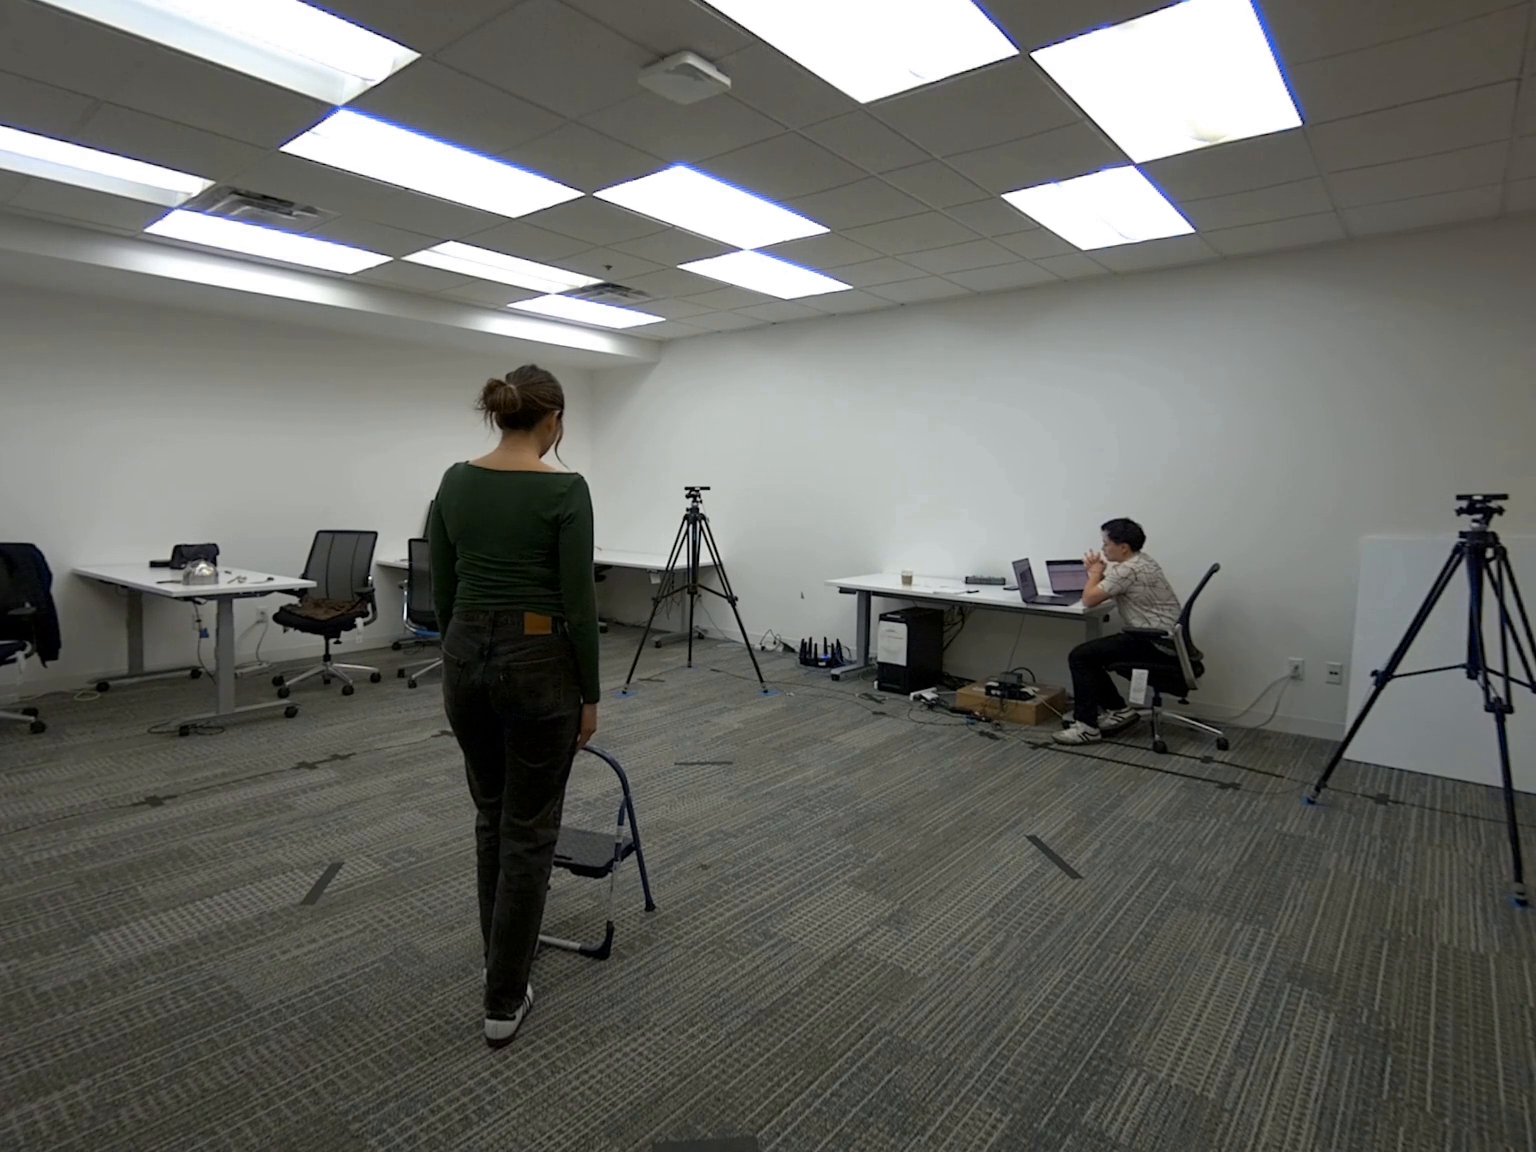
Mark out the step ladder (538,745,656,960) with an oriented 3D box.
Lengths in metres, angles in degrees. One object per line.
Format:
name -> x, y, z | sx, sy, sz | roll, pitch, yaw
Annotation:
step ladder -> -0.626, 0.797, 2.699 | 0.439, 0.604, 0.343 | 2, 4, 18
